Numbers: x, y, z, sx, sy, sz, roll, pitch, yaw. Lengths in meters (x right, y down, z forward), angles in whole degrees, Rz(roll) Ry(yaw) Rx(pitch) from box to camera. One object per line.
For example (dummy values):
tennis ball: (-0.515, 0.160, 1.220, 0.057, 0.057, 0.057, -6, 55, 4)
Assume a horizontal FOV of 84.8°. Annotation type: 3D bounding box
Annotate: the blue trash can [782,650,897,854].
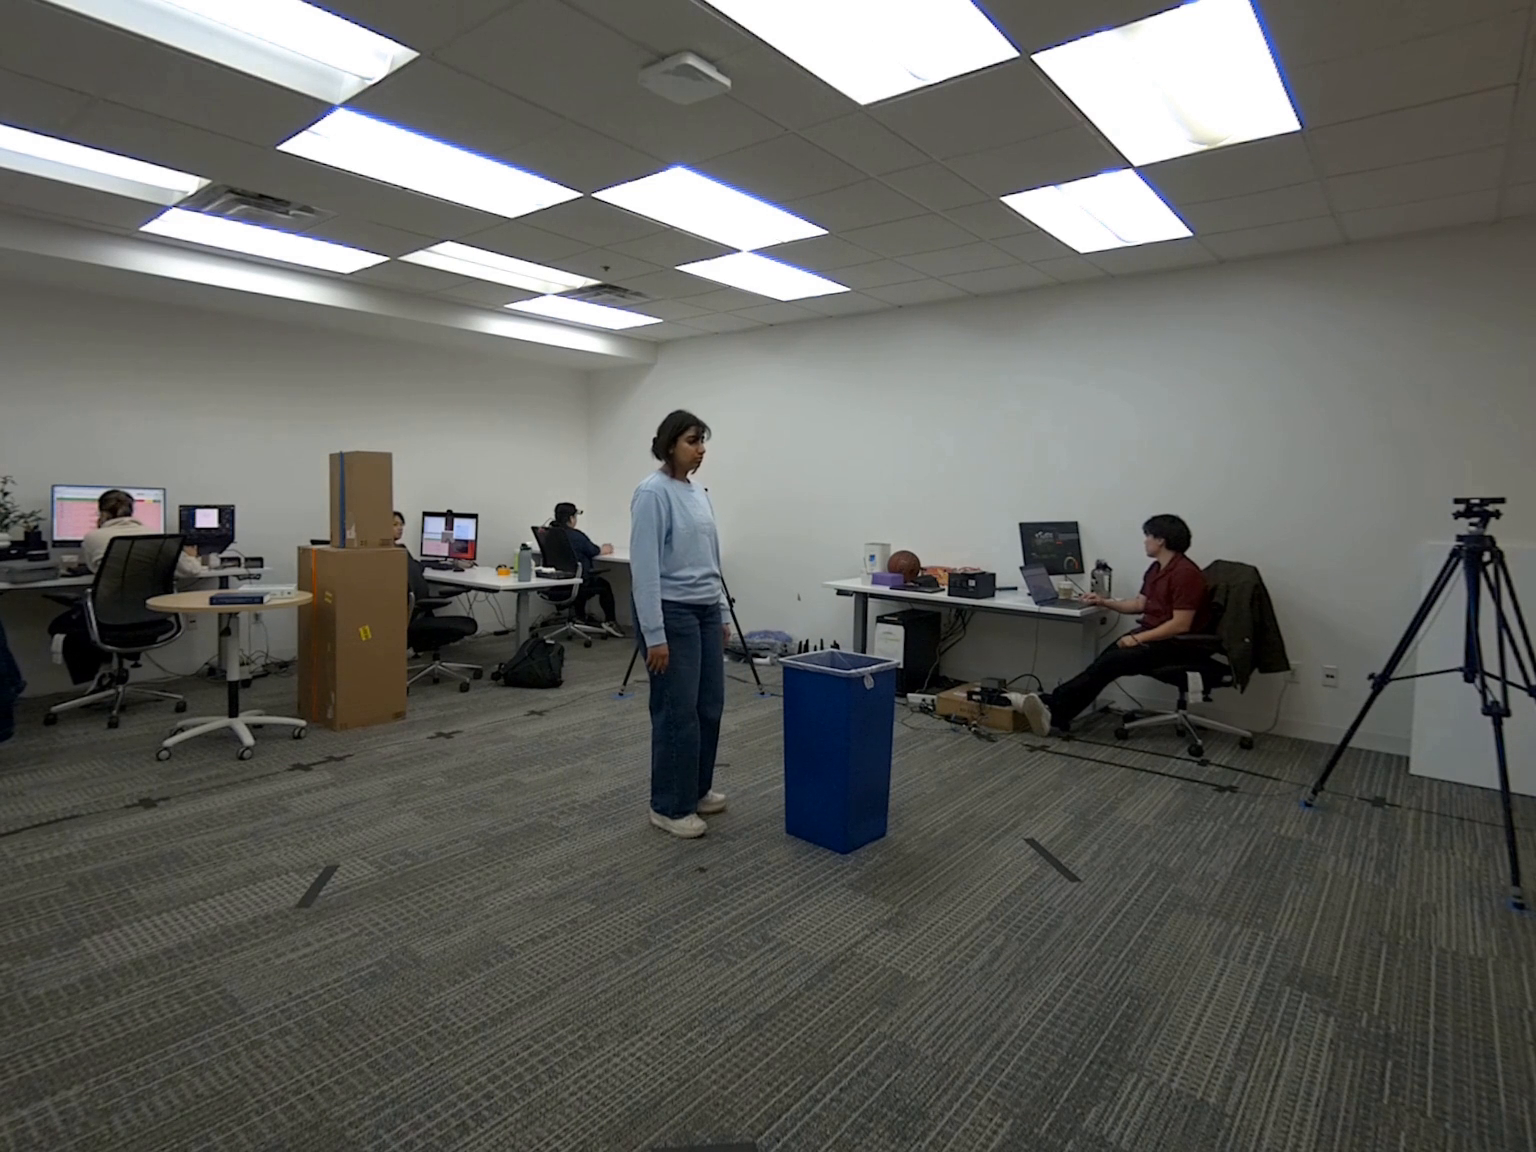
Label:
blue trash can: (0.266, 0.691, 3.453, 0.387, 0.712, 0.366, 4, 4, 41)
